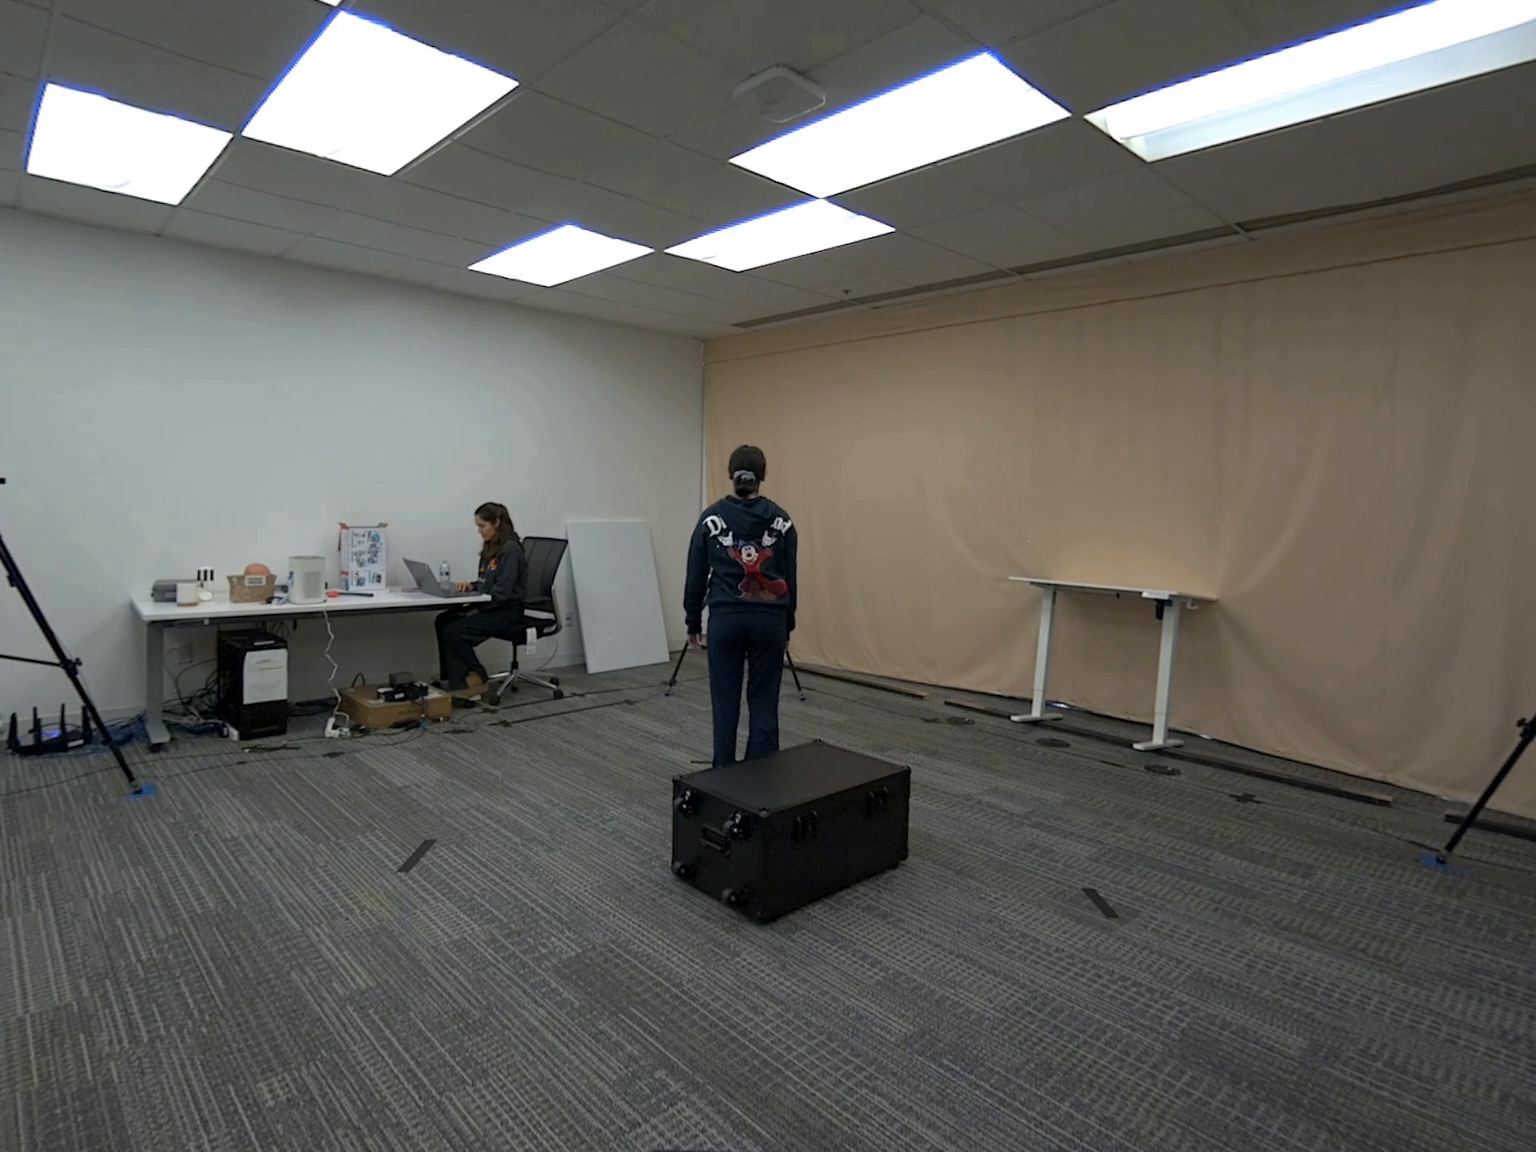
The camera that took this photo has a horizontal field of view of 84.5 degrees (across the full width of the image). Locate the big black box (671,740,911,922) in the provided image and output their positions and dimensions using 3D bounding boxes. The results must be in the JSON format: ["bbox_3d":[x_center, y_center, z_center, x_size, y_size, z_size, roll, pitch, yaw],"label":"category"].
[{"bbox_3d":[0.068,0.918,3.126,0.841,0.395,0.534,-2,5,-44],"label":"big black box"}]
